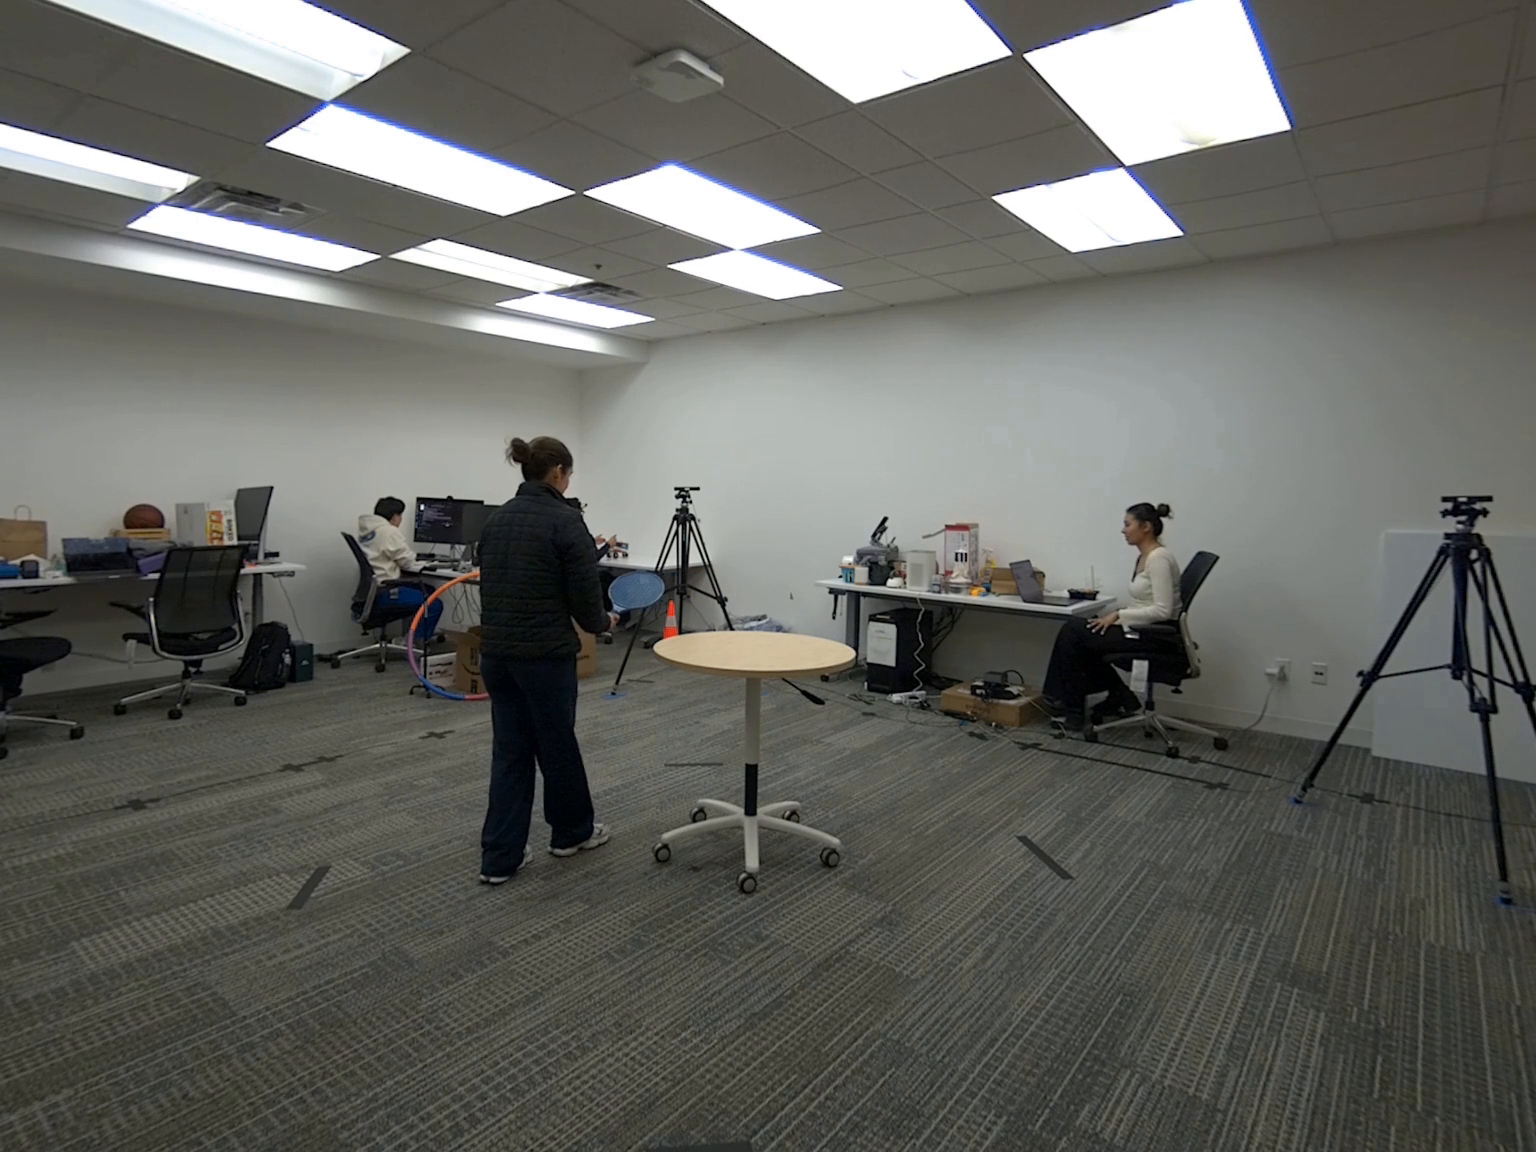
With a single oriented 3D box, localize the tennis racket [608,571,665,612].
[{"bbox_3d":[-0.540,0.091,3.428,0.219,0.031,0.432,18,36,19],"label":"tennis racket"}]
